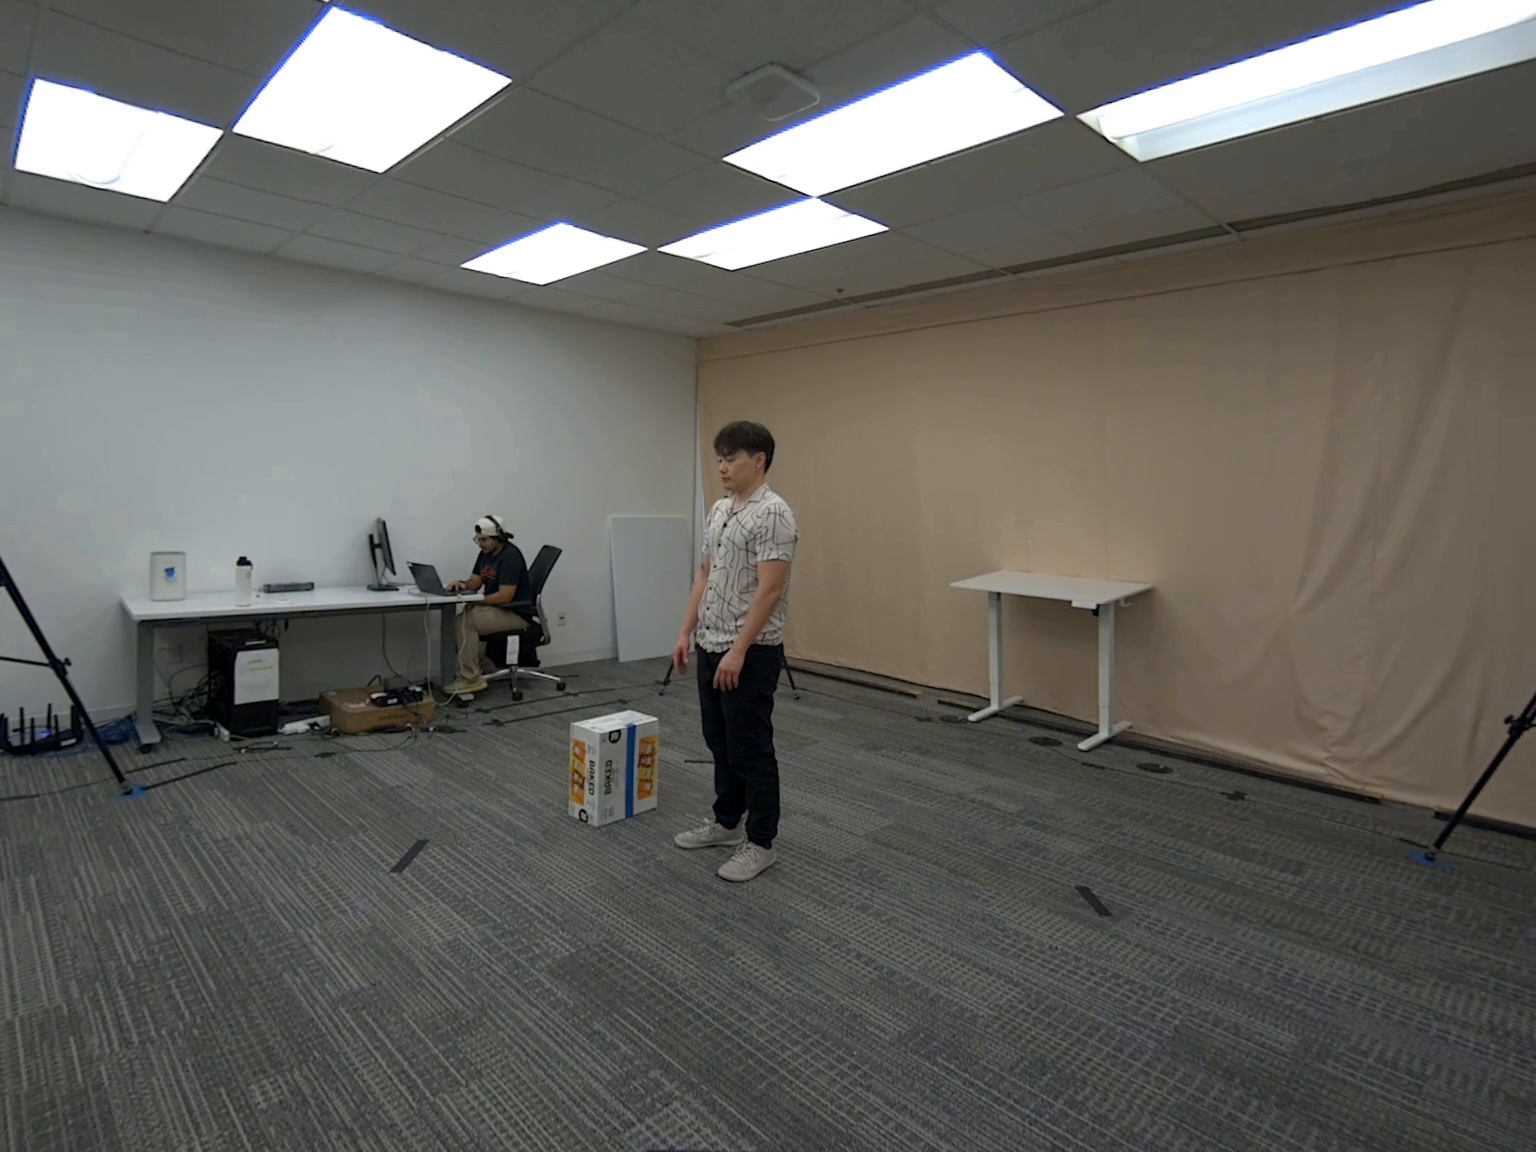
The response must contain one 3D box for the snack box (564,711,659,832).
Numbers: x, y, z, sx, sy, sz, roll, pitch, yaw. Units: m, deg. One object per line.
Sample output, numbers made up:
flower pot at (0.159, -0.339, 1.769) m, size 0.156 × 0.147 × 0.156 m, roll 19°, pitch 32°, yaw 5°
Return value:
snack box at (-0.683, 0.840, 3.696) m, size 0.211 × 0.404 × 0.332 m, roll 5°, pitch 5°, yaw 40°
